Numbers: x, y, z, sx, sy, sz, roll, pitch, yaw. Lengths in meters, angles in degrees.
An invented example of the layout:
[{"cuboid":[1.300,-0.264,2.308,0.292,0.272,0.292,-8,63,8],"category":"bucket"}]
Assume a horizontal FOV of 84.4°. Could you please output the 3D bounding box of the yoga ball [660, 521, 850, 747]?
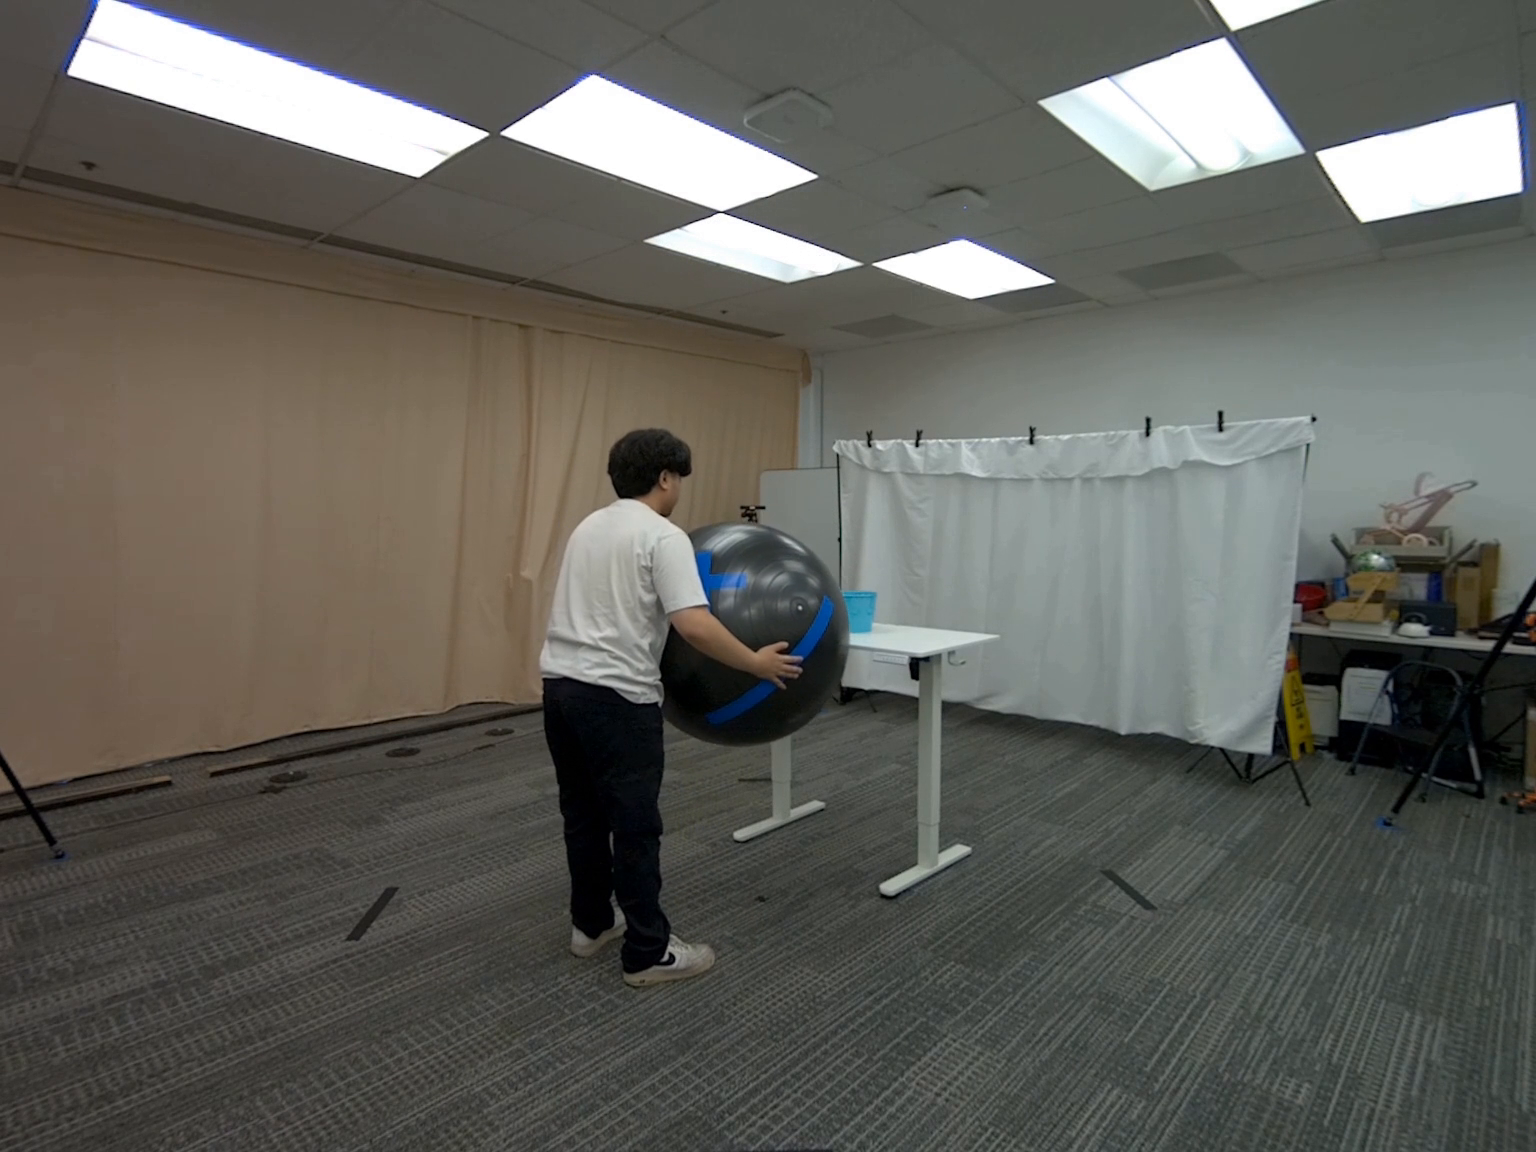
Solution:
[{"cuboid":[-0.102,0.204,2.876,0.757,0.756,0.760,0,4,-2],"category":"yoga ball"}]
